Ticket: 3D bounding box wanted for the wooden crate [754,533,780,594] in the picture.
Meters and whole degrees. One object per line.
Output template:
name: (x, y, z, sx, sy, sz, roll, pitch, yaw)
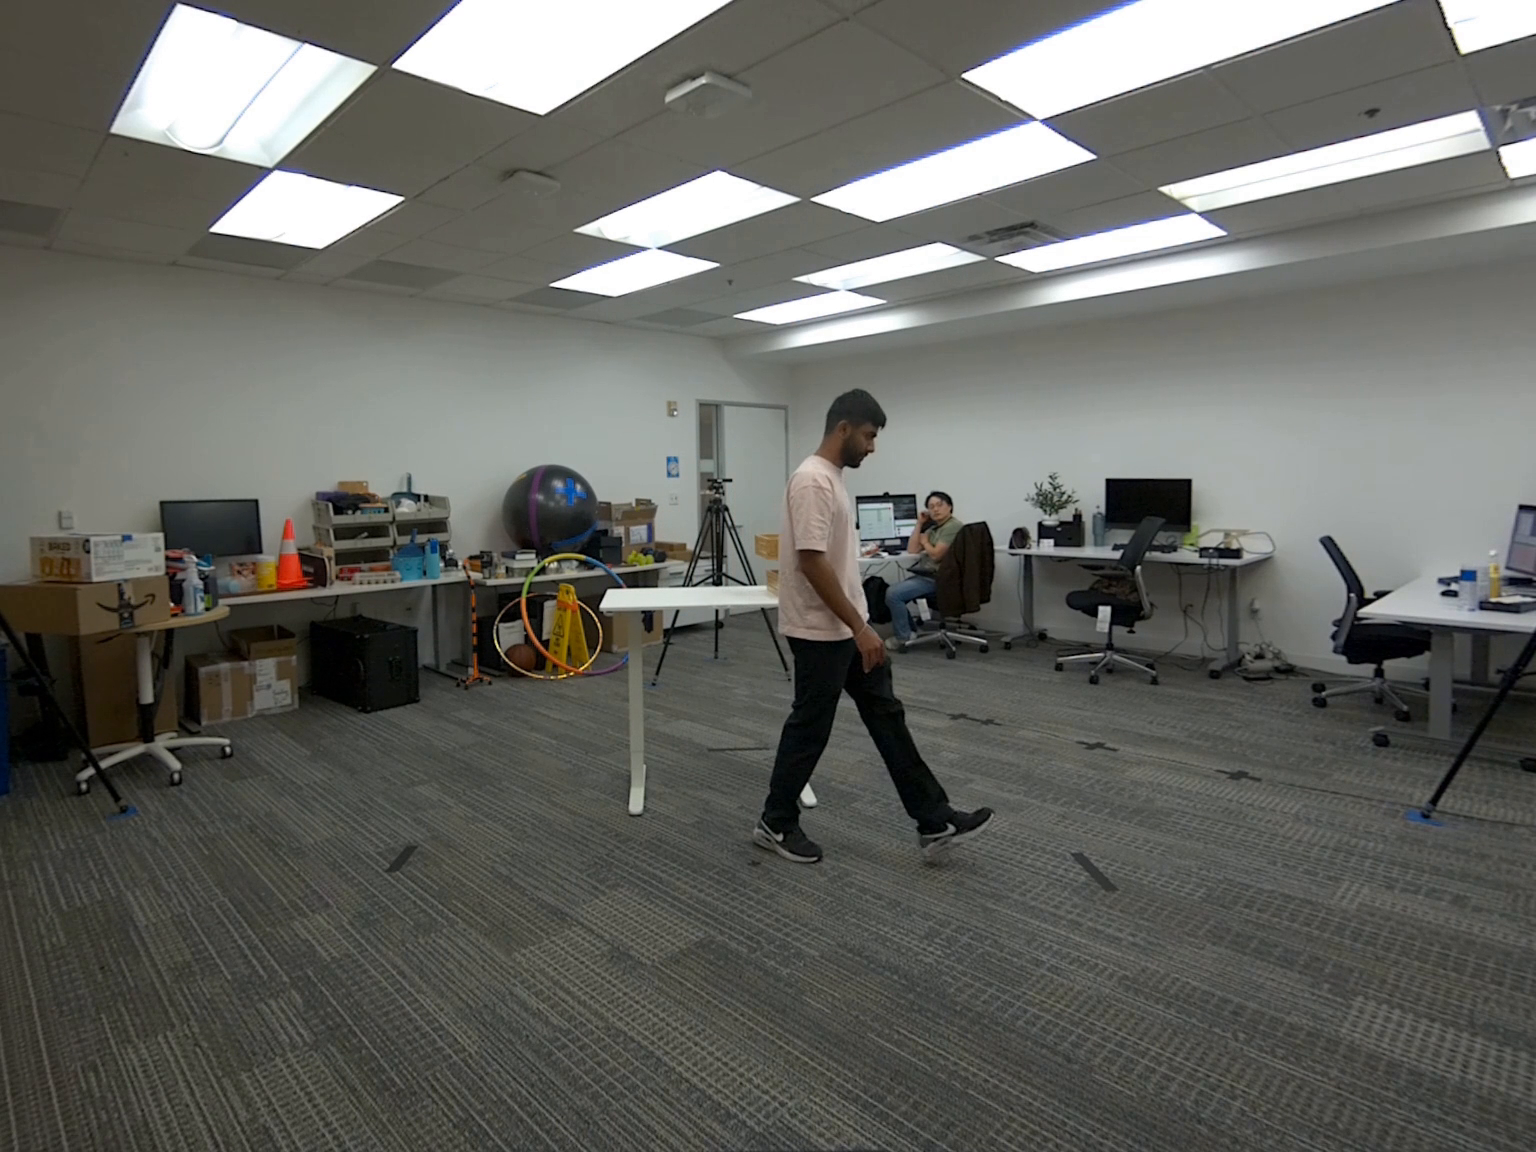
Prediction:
wooden crate: (0.130, -0.052, 3.869, 0.299, 0.272, 0.328, -1, 5, -9)
